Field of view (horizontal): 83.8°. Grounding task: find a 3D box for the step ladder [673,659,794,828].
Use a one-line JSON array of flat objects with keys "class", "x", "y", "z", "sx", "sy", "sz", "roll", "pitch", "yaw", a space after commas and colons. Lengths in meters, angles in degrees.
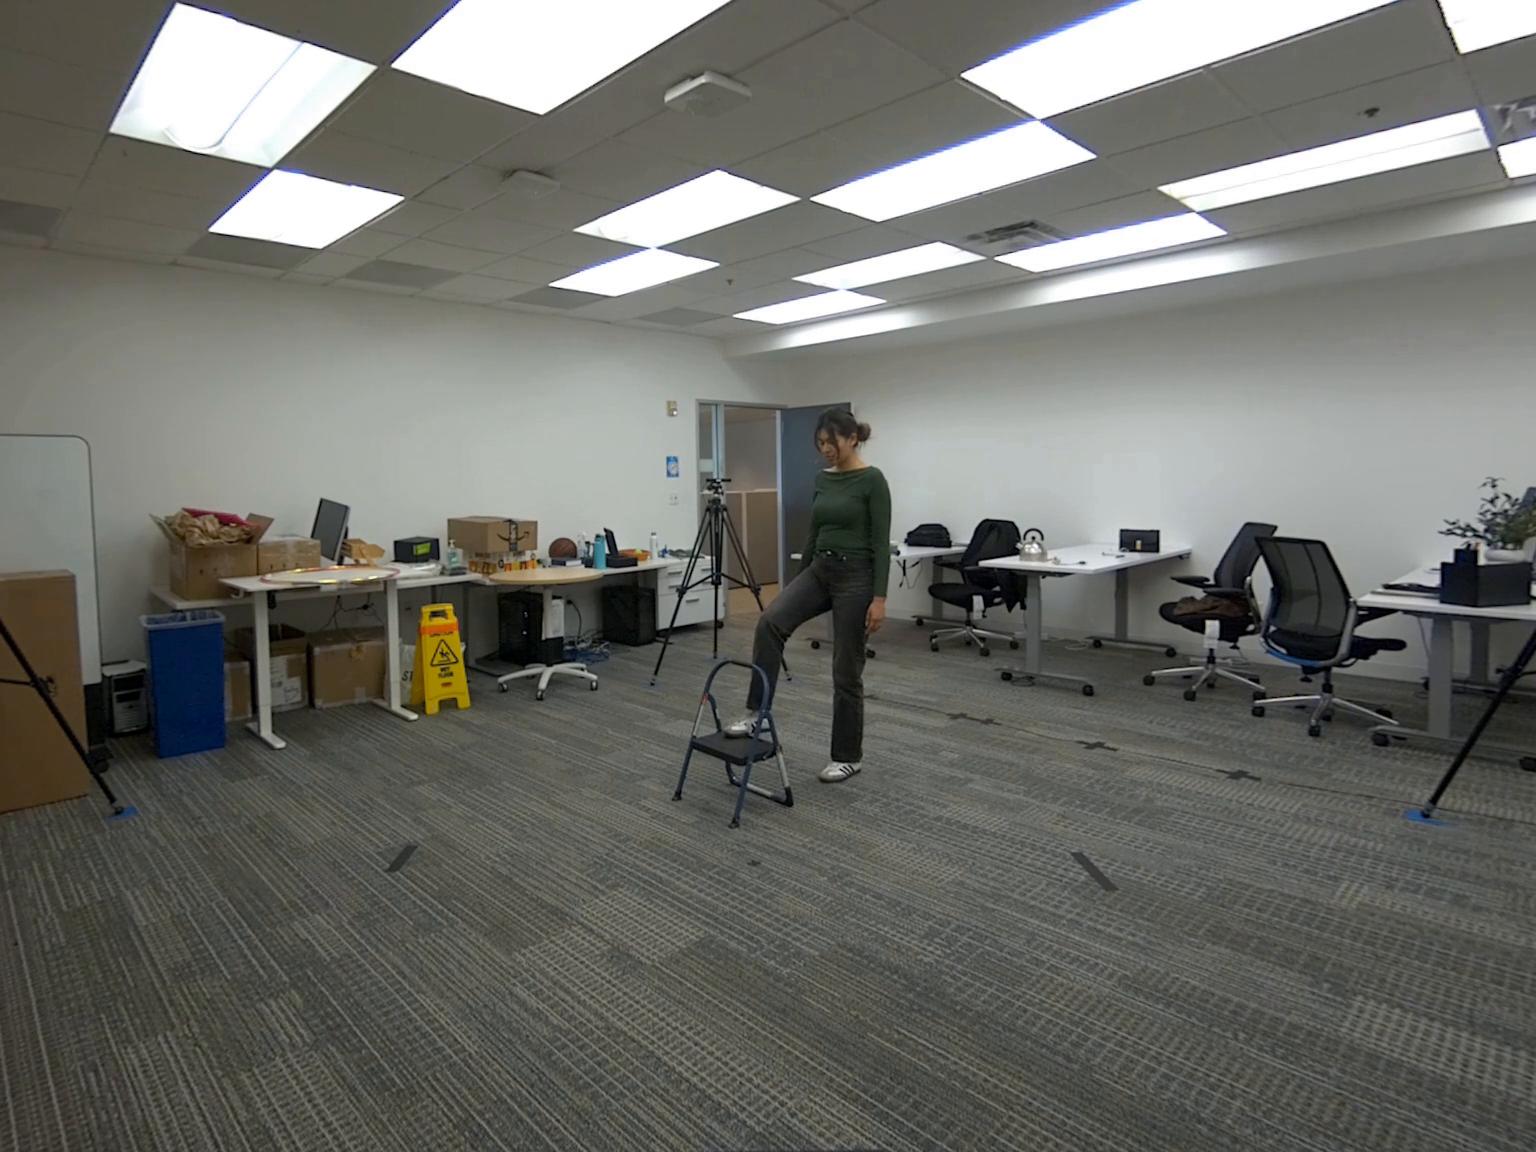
[{"class": "step ladder", "x": -0.155, "y": 0.678, "z": 3.671, "sx": 0.340, "sy": 0.604, "sz": 0.444, "roll": -4, "pitch": 5, "yaw": -41}]
